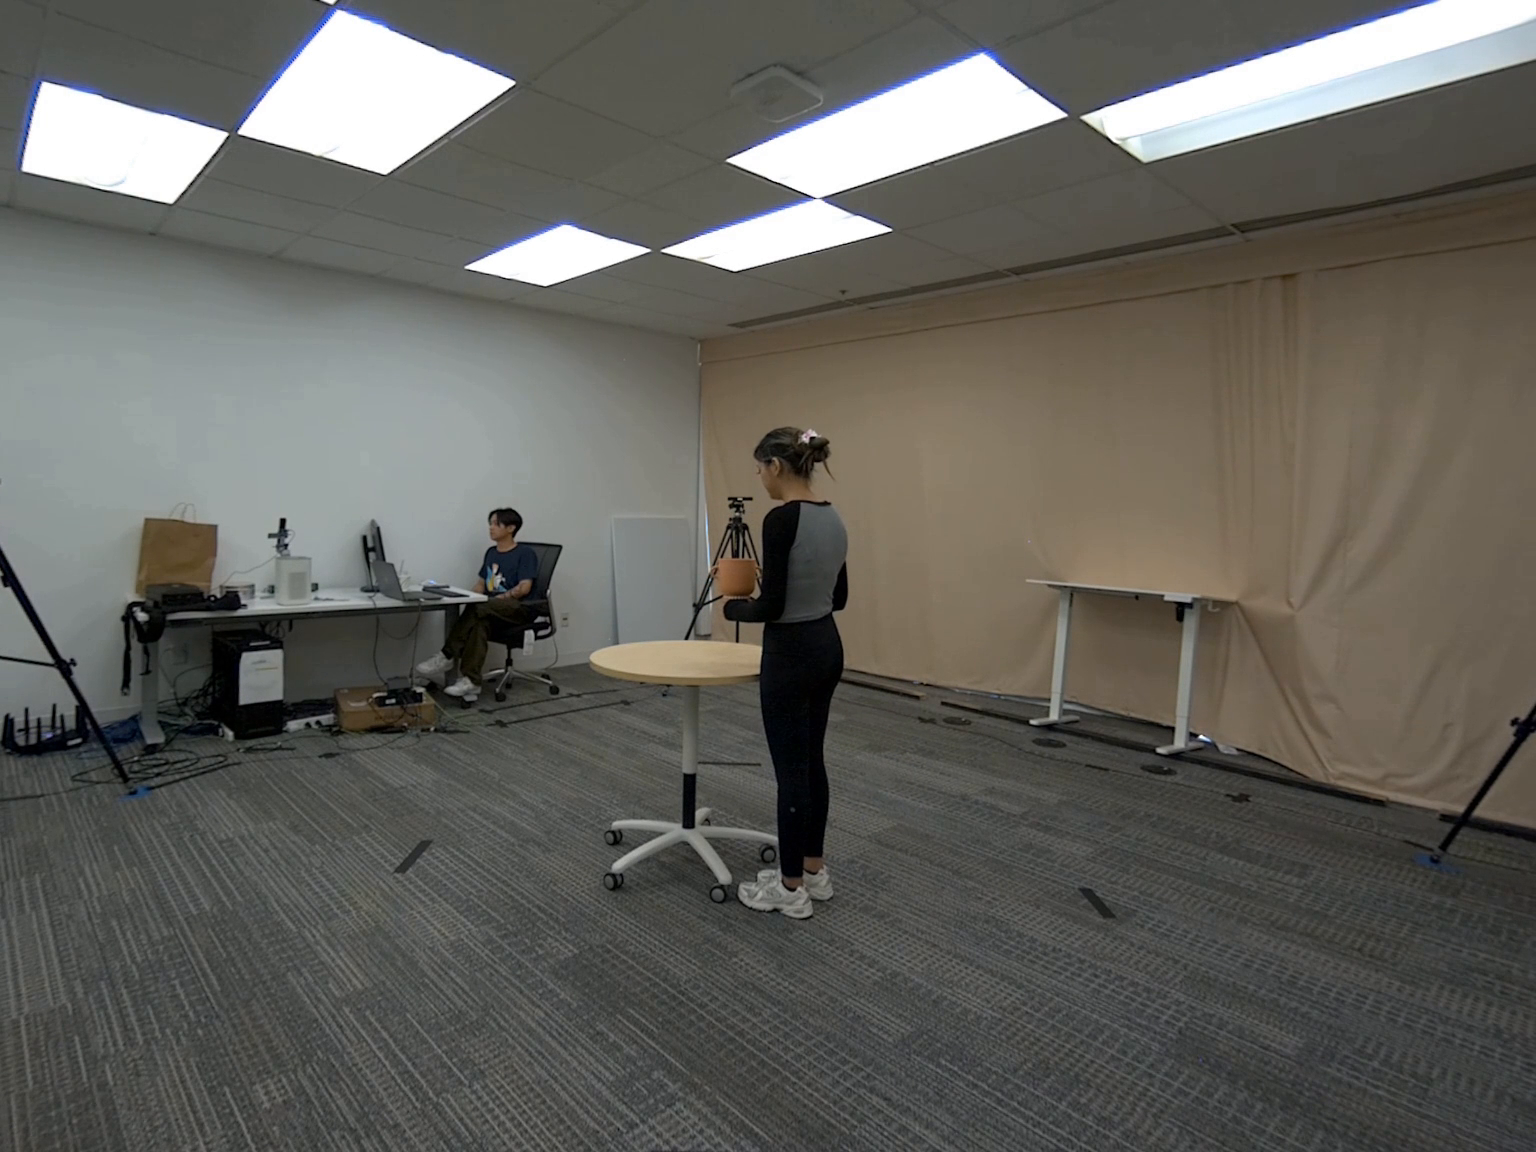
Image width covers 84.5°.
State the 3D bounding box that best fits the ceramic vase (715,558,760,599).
[{"bbox_3d":[-0.118,0.048,3.030,0.162,0.220,0.132,0,0,27],"label":"ceramic vase"}]
